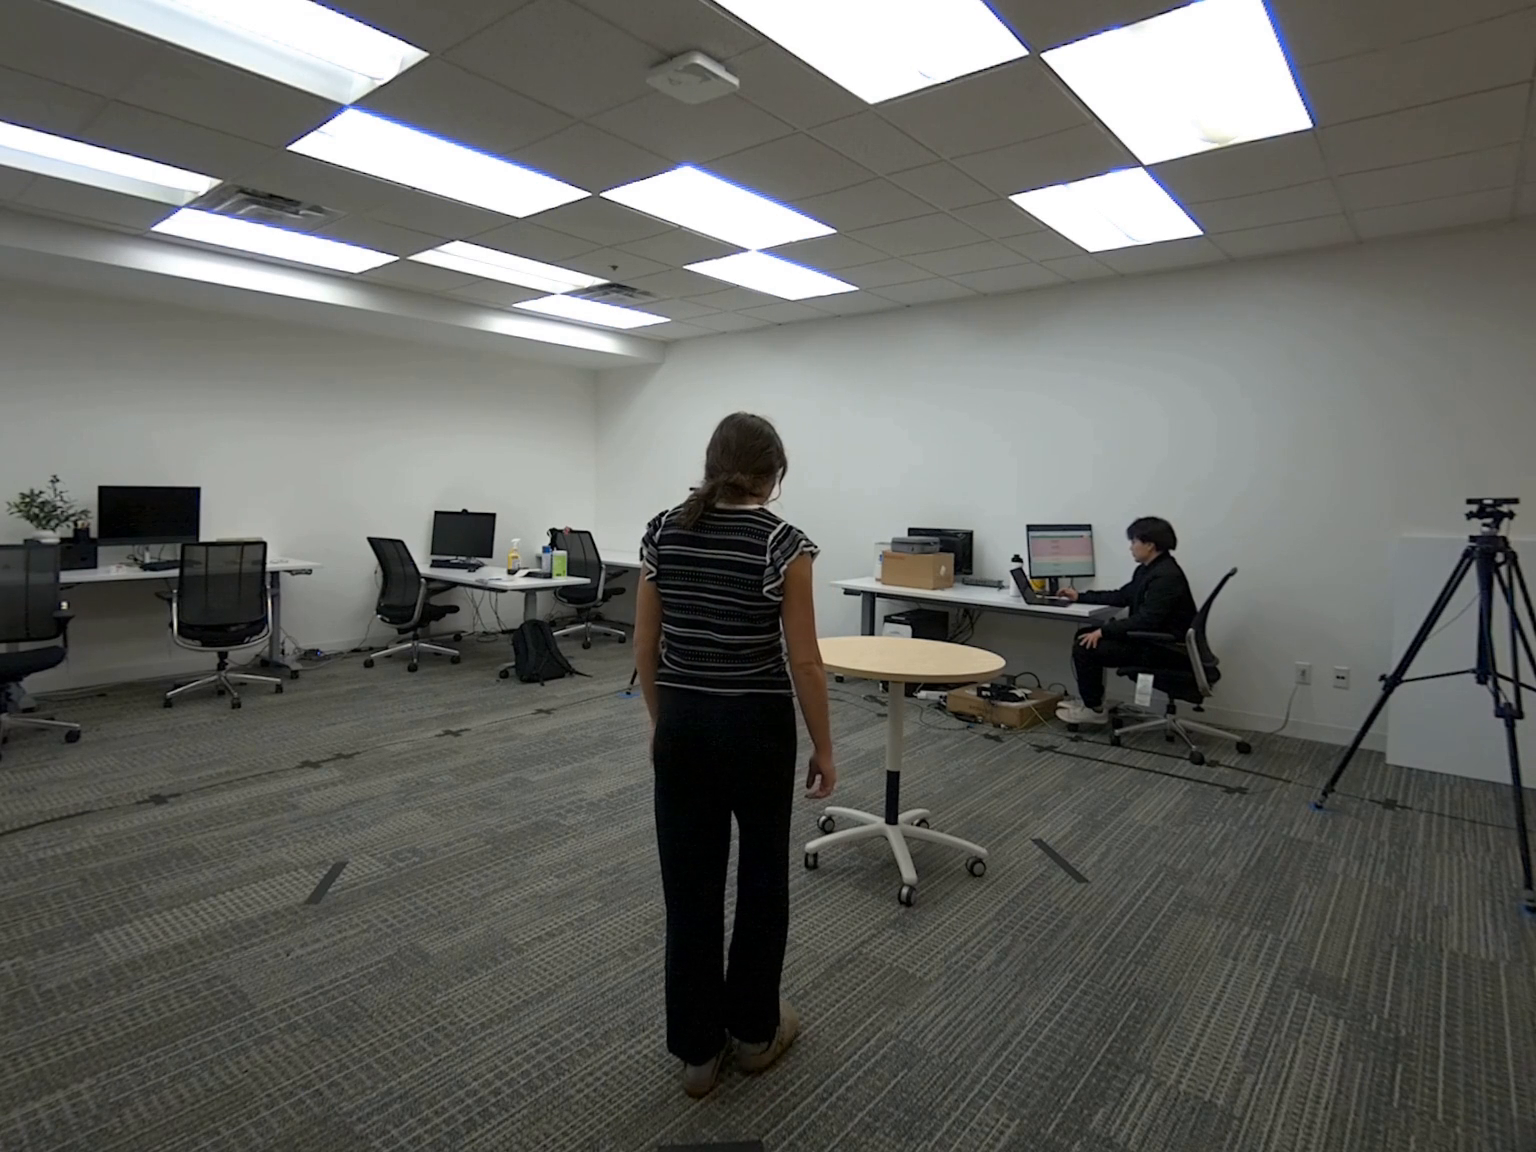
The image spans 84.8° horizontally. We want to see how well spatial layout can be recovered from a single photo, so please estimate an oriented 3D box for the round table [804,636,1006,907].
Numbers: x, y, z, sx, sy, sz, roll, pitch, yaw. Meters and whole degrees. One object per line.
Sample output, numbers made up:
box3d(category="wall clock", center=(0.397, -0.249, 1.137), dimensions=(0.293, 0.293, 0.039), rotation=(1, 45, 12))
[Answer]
box3d(category="round table", center=(0.465, 0.681, 3.215), dimensions=(0.763, 0.791, 0.768), rotation=(2, 4, -2))
